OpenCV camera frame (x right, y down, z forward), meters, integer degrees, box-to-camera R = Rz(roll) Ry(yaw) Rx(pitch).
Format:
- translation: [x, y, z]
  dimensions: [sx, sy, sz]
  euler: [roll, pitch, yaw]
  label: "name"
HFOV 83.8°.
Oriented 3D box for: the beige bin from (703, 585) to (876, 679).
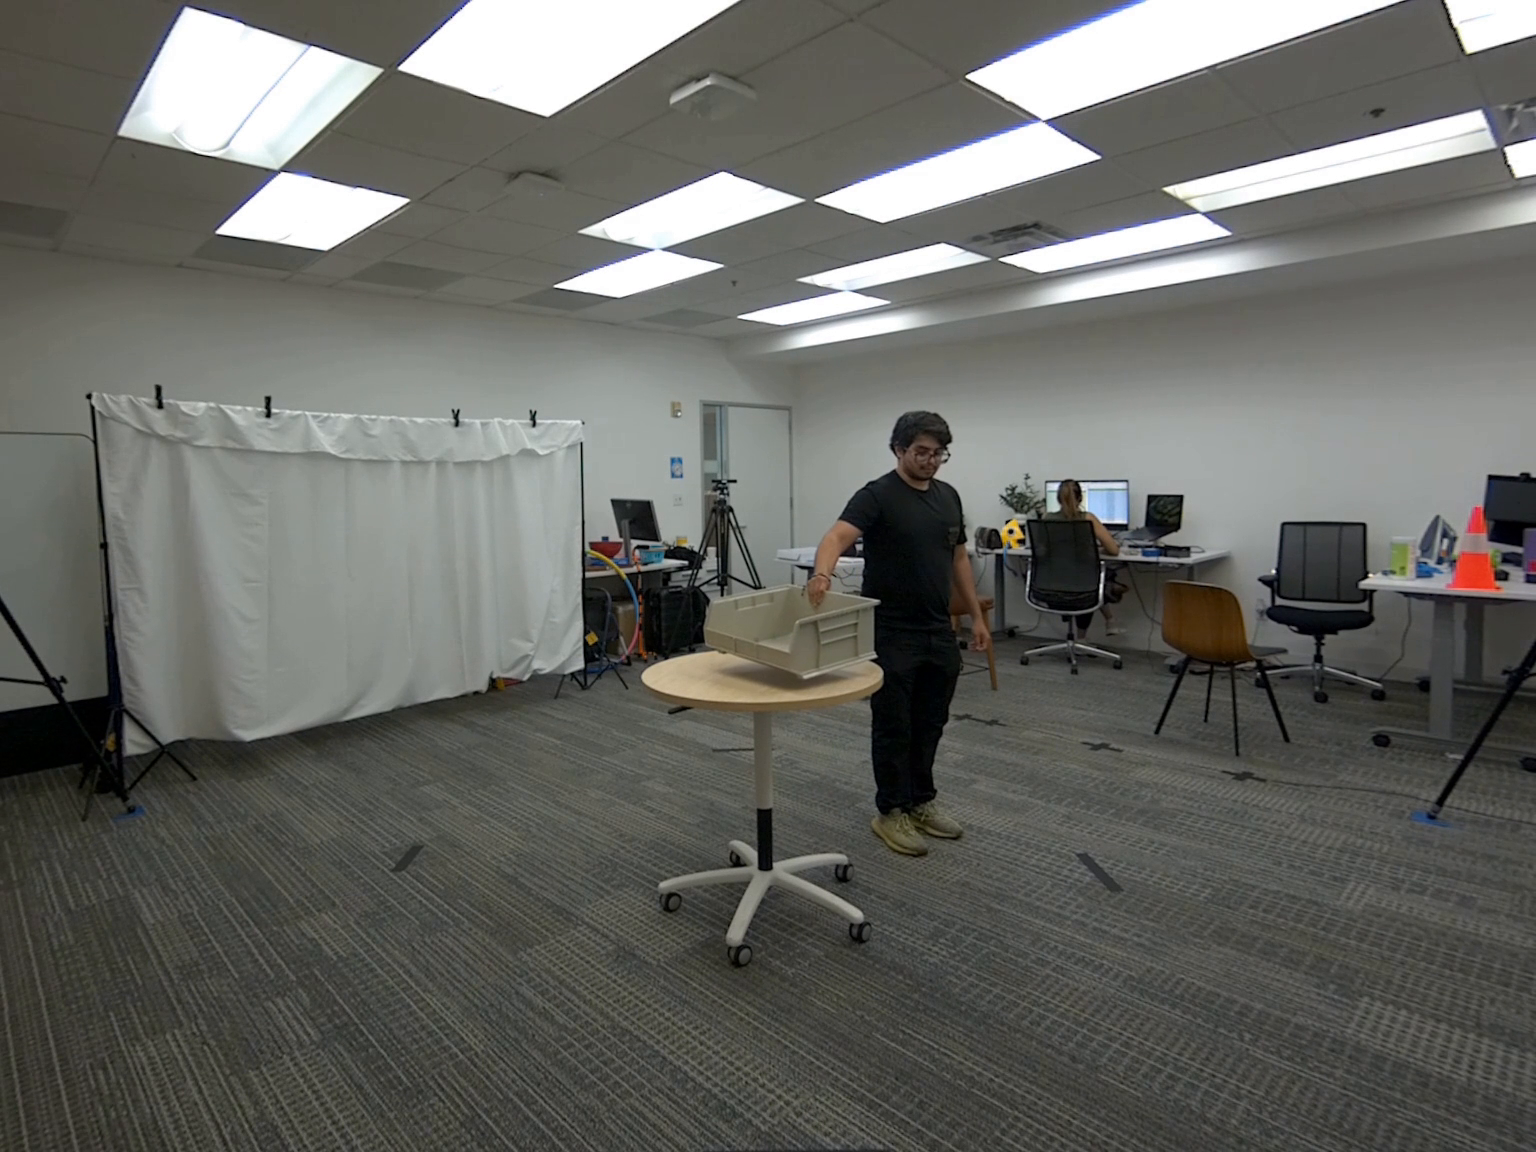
- translation: [0.068, 0.170, 2.686]
  dimensions: [0.368, 0.187, 0.436]
  euler: [-9, 11, -38]
  label: "beige bin"
